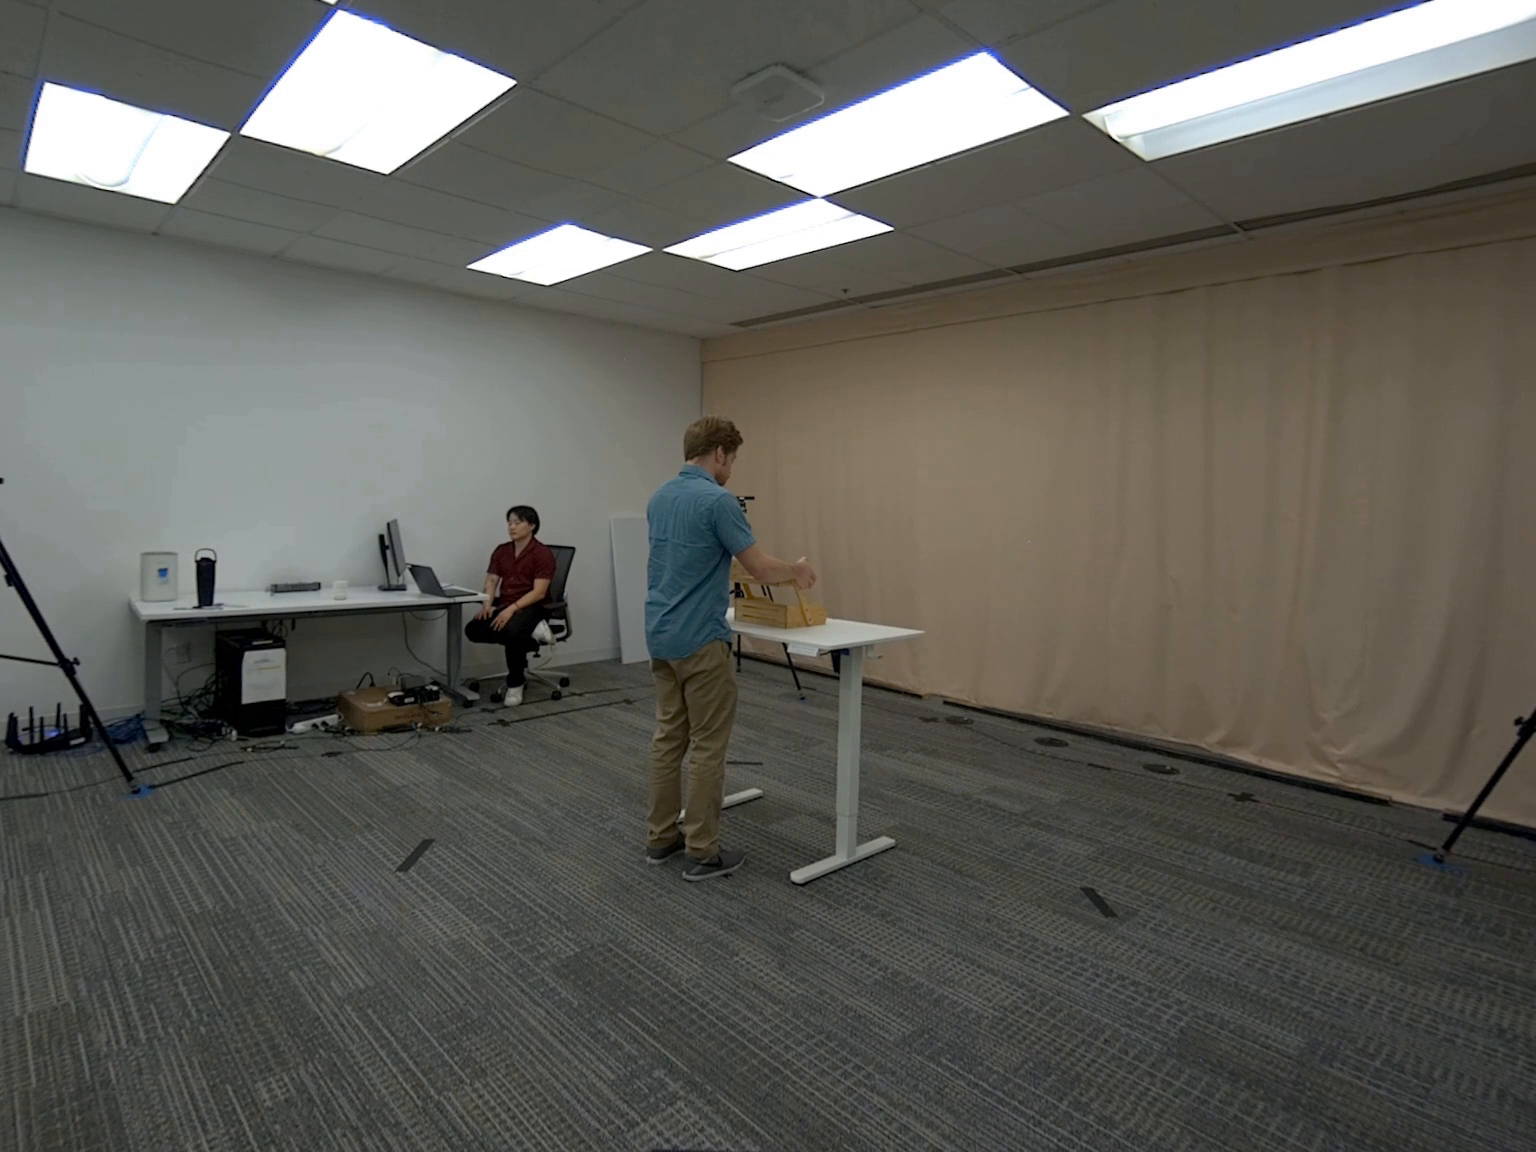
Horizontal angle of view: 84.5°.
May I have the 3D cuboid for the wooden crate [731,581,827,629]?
[{"bbox_3d":[0.033,0.063,3.476,0.295,0.273,0.333,-3,5,-44],"label":"wooden crate"}]
